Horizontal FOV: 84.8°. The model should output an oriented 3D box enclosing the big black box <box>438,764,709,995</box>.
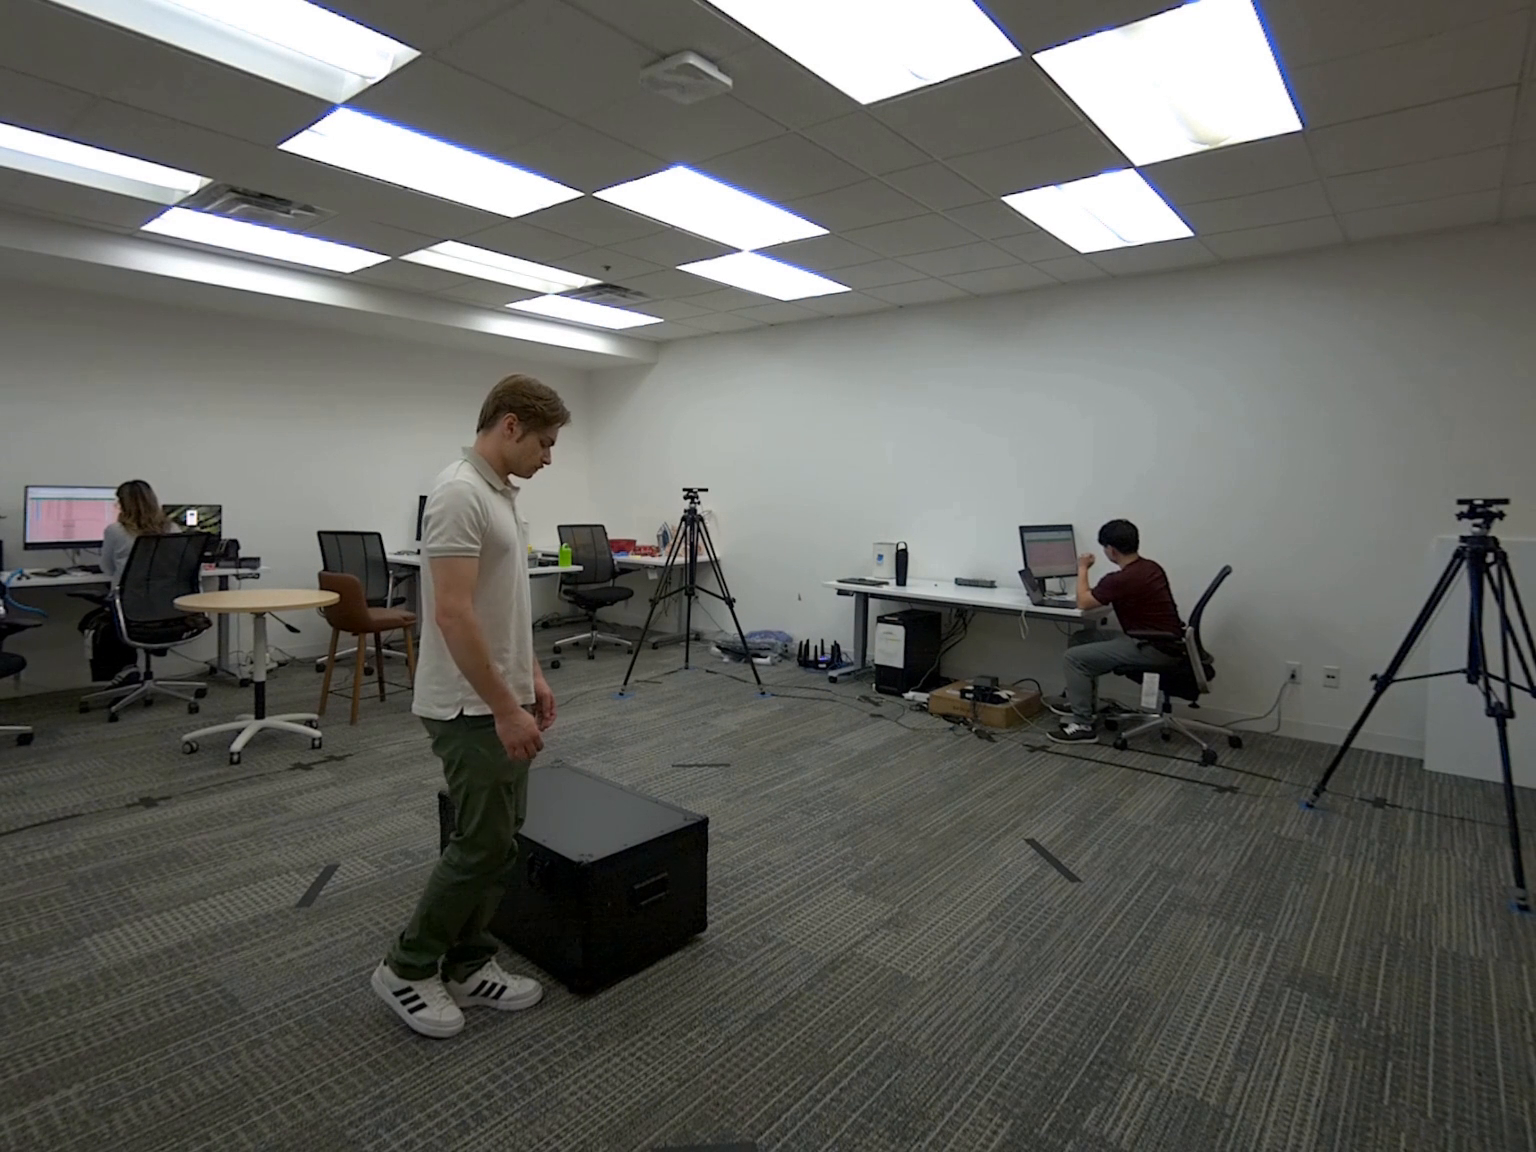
[{"bbox_3d":[-0.668,0.908,2.741,0.891,0.395,0.506,6,7,41],"label":"big black box"}]
